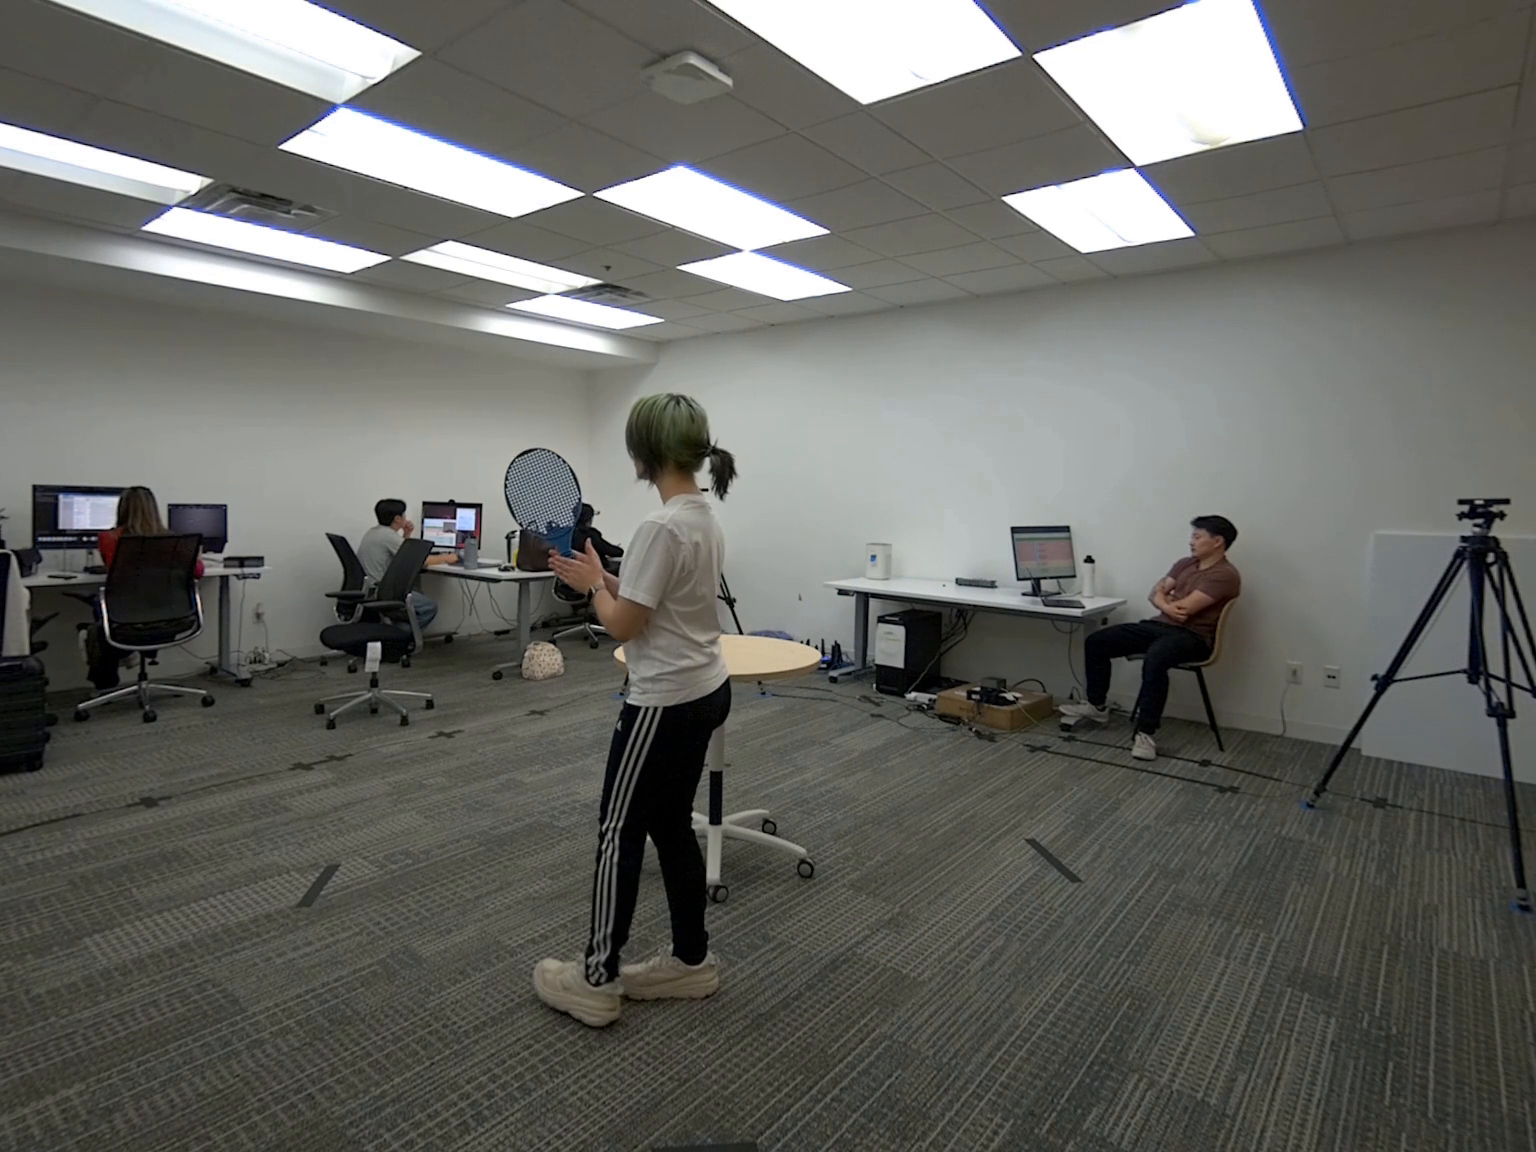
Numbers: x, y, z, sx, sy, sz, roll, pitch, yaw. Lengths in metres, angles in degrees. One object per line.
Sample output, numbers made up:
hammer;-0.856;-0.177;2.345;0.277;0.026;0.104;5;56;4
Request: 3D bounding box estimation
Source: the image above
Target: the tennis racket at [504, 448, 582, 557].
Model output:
tennis racket;-0.617;-0.165;2.420;0.213;0.434;0.032;-26;-2;-3
